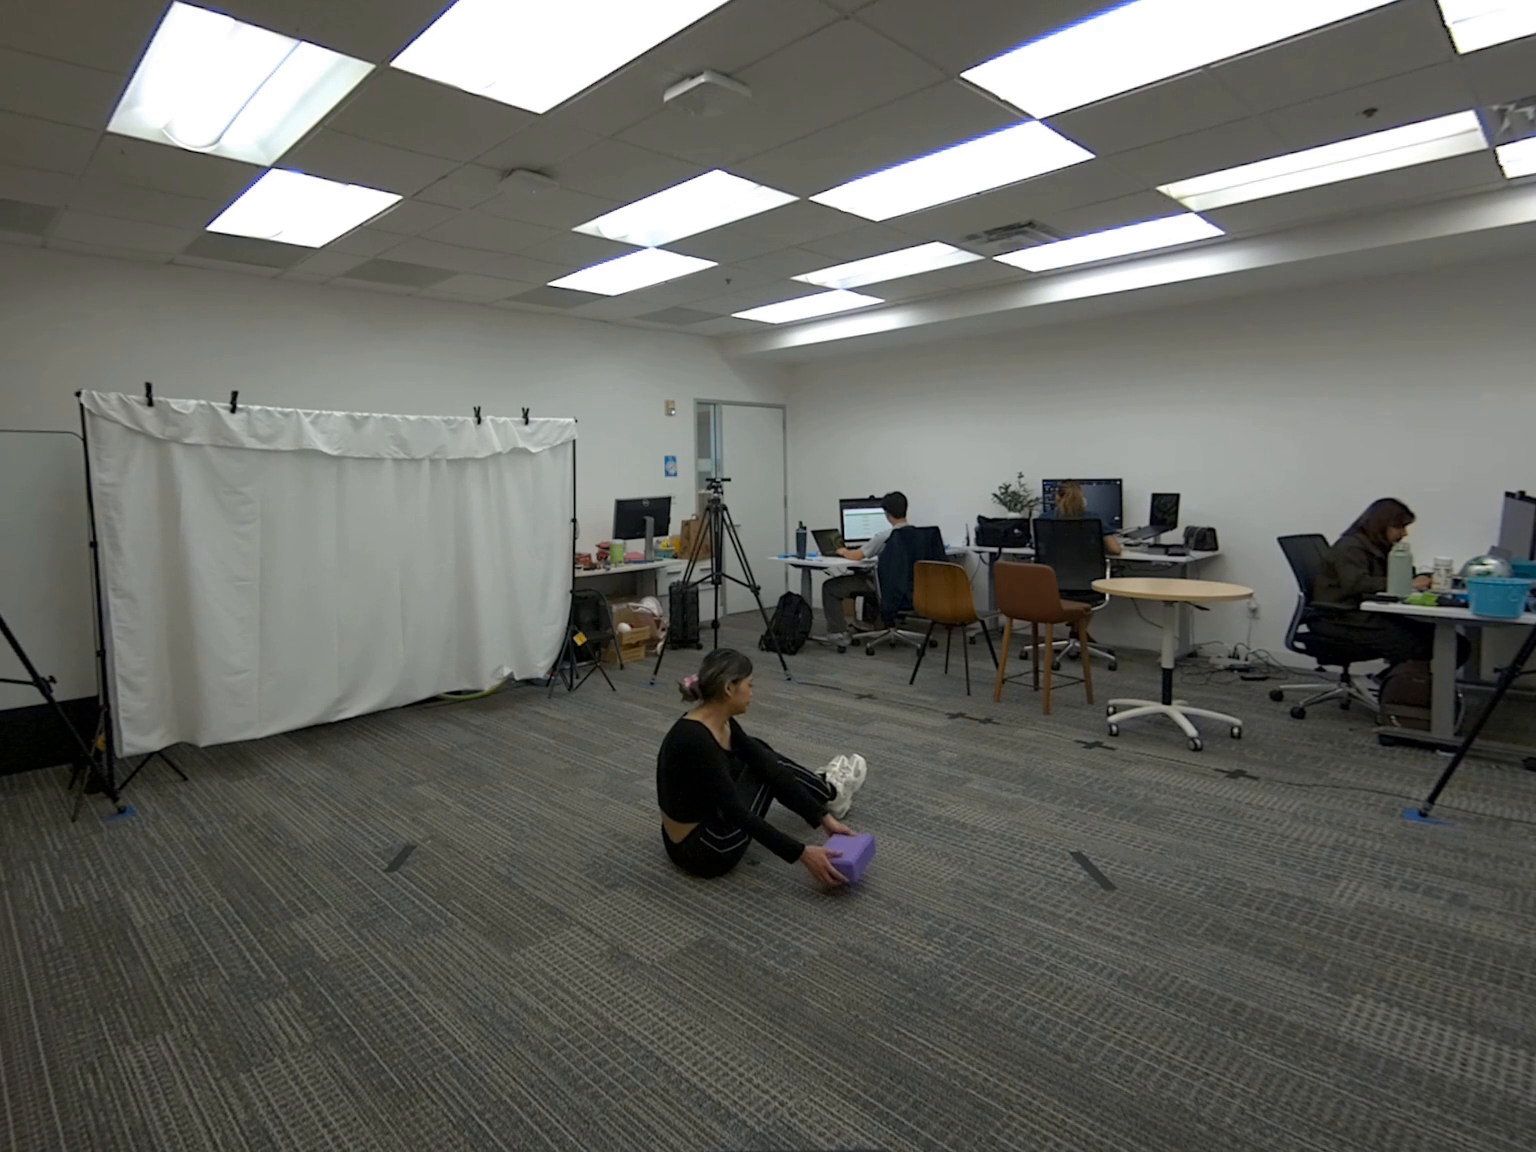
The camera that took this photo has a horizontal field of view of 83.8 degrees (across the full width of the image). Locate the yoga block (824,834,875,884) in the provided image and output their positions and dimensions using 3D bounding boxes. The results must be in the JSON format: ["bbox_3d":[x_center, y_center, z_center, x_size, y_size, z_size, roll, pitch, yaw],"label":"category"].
[{"bbox_3d":[0.254,0.946,2.926,0.152,0.076,0.225,-3,6,25],"label":"yoga block"}]
